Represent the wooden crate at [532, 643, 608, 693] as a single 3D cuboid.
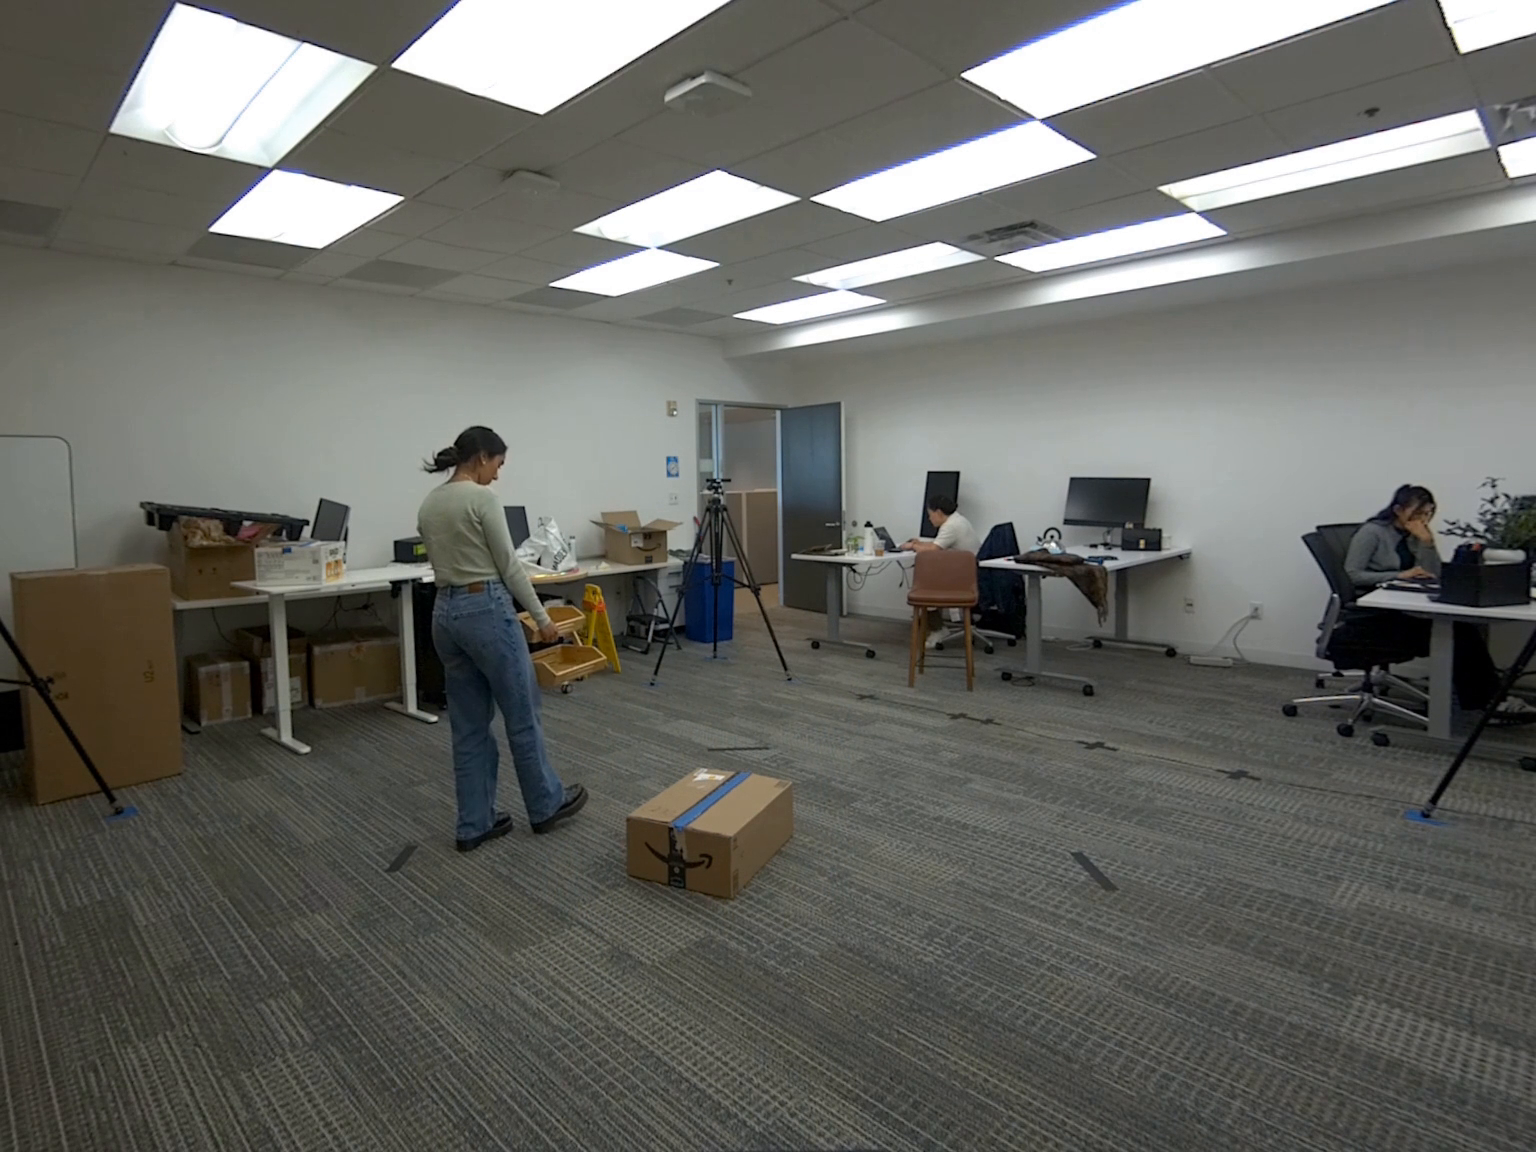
[{"bbox_3d":[-0.871,0.276,3.507,0.309,0.272,0.318,-2,7,30],"label":"wooden crate"}]
